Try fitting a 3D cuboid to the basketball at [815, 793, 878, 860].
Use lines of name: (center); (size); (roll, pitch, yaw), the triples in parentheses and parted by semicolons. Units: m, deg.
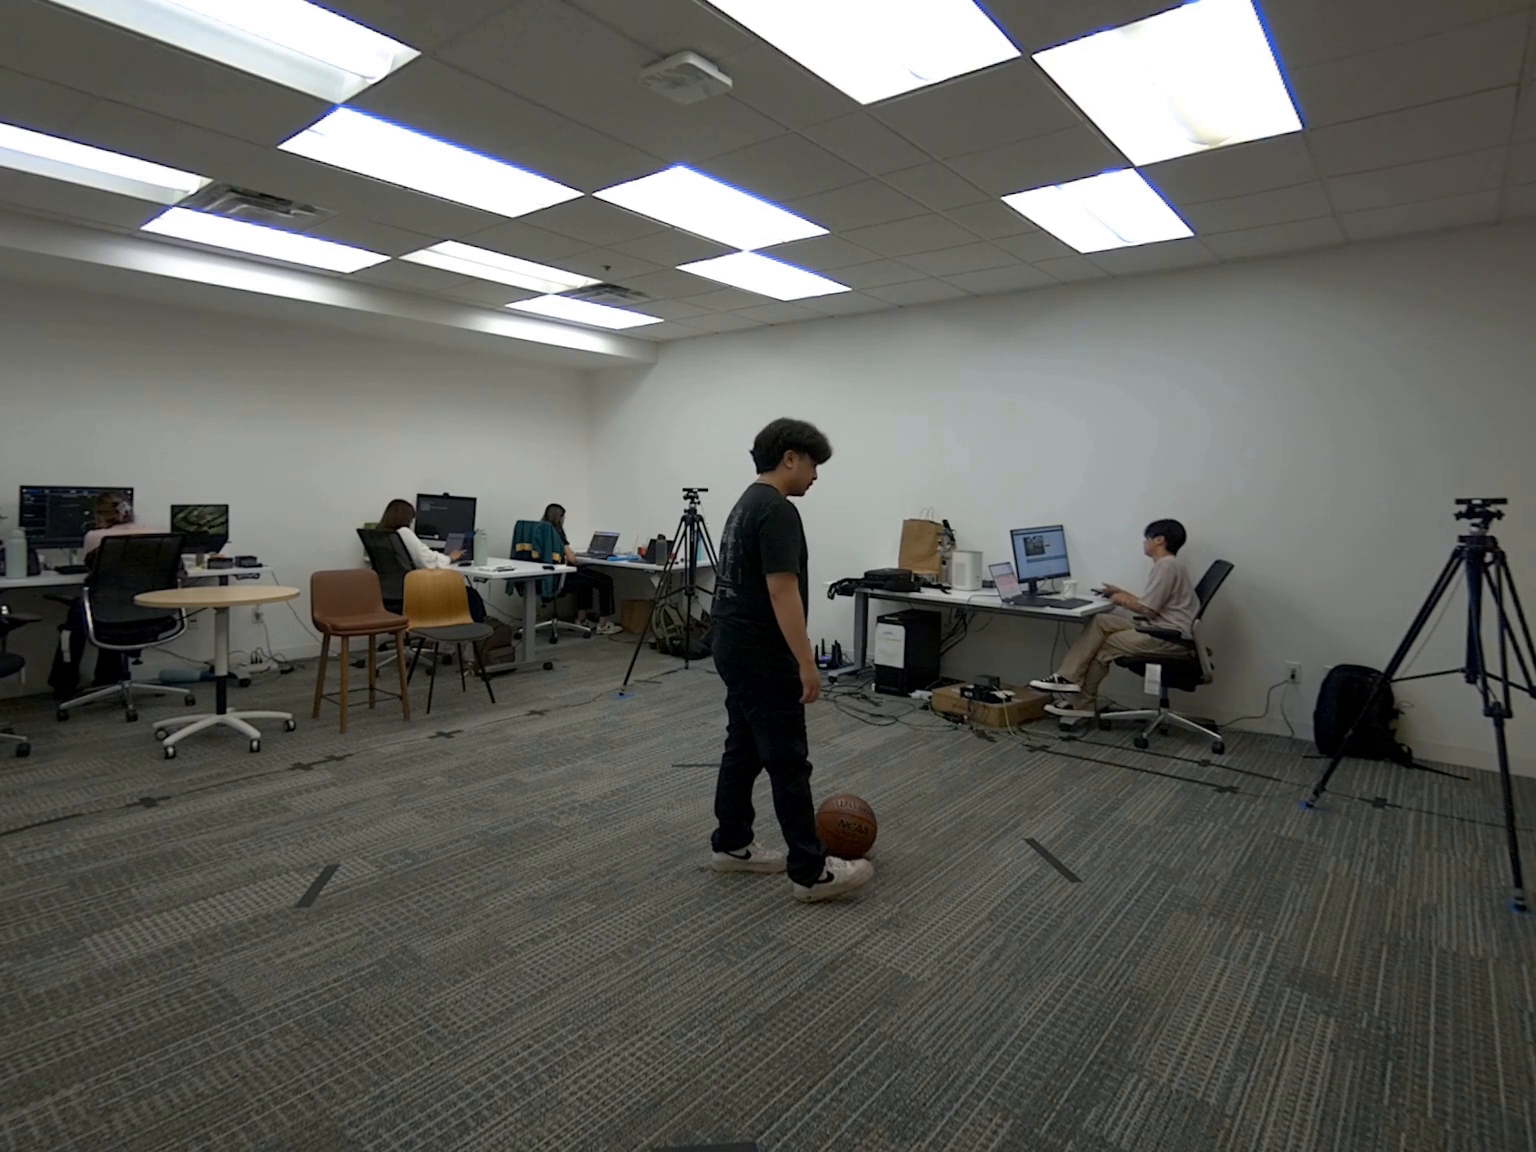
basketball: (0.290, 0.946, 3.239); (0.235, 0.235, 0.237); (1, 4, -2)
